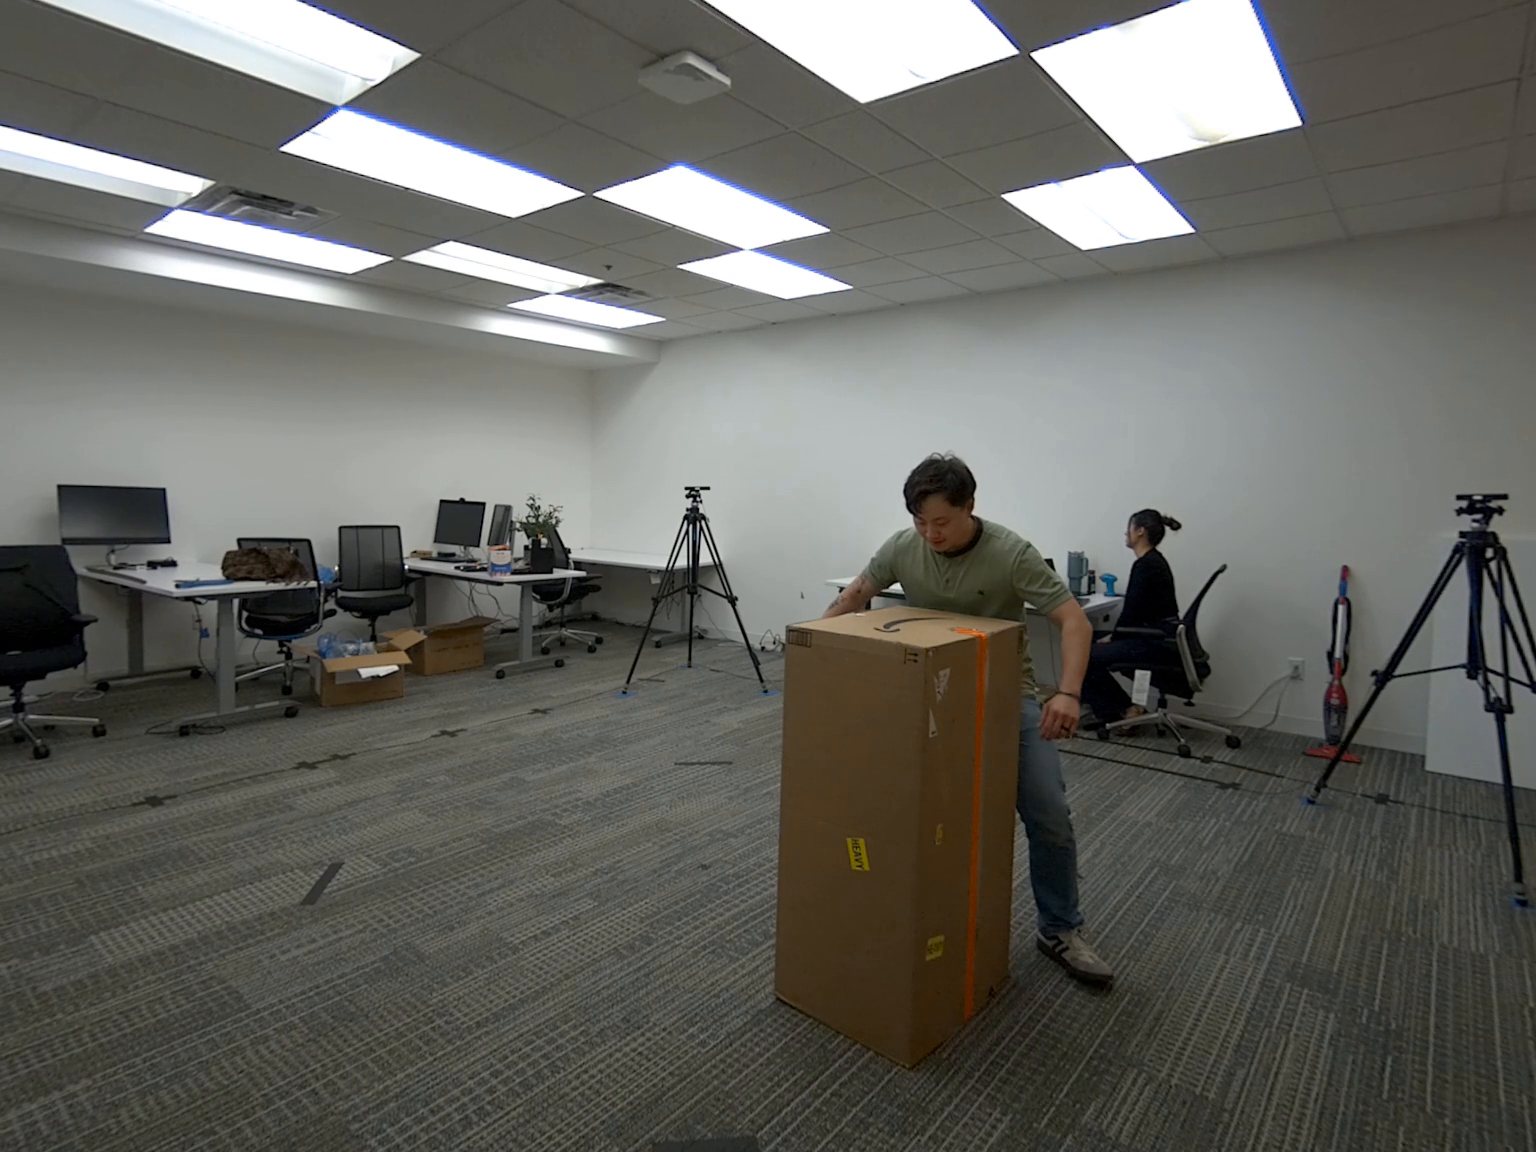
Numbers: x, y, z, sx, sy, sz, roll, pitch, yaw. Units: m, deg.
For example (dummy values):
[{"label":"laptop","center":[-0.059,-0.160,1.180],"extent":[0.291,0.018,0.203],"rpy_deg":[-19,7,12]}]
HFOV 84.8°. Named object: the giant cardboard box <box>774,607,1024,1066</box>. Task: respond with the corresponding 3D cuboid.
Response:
[{"label":"giant cardboard box","center":[0.368,0.637,2.363],"extent":[0.441,1.022,0.560],"rpy_deg":[4,5,40]}]
